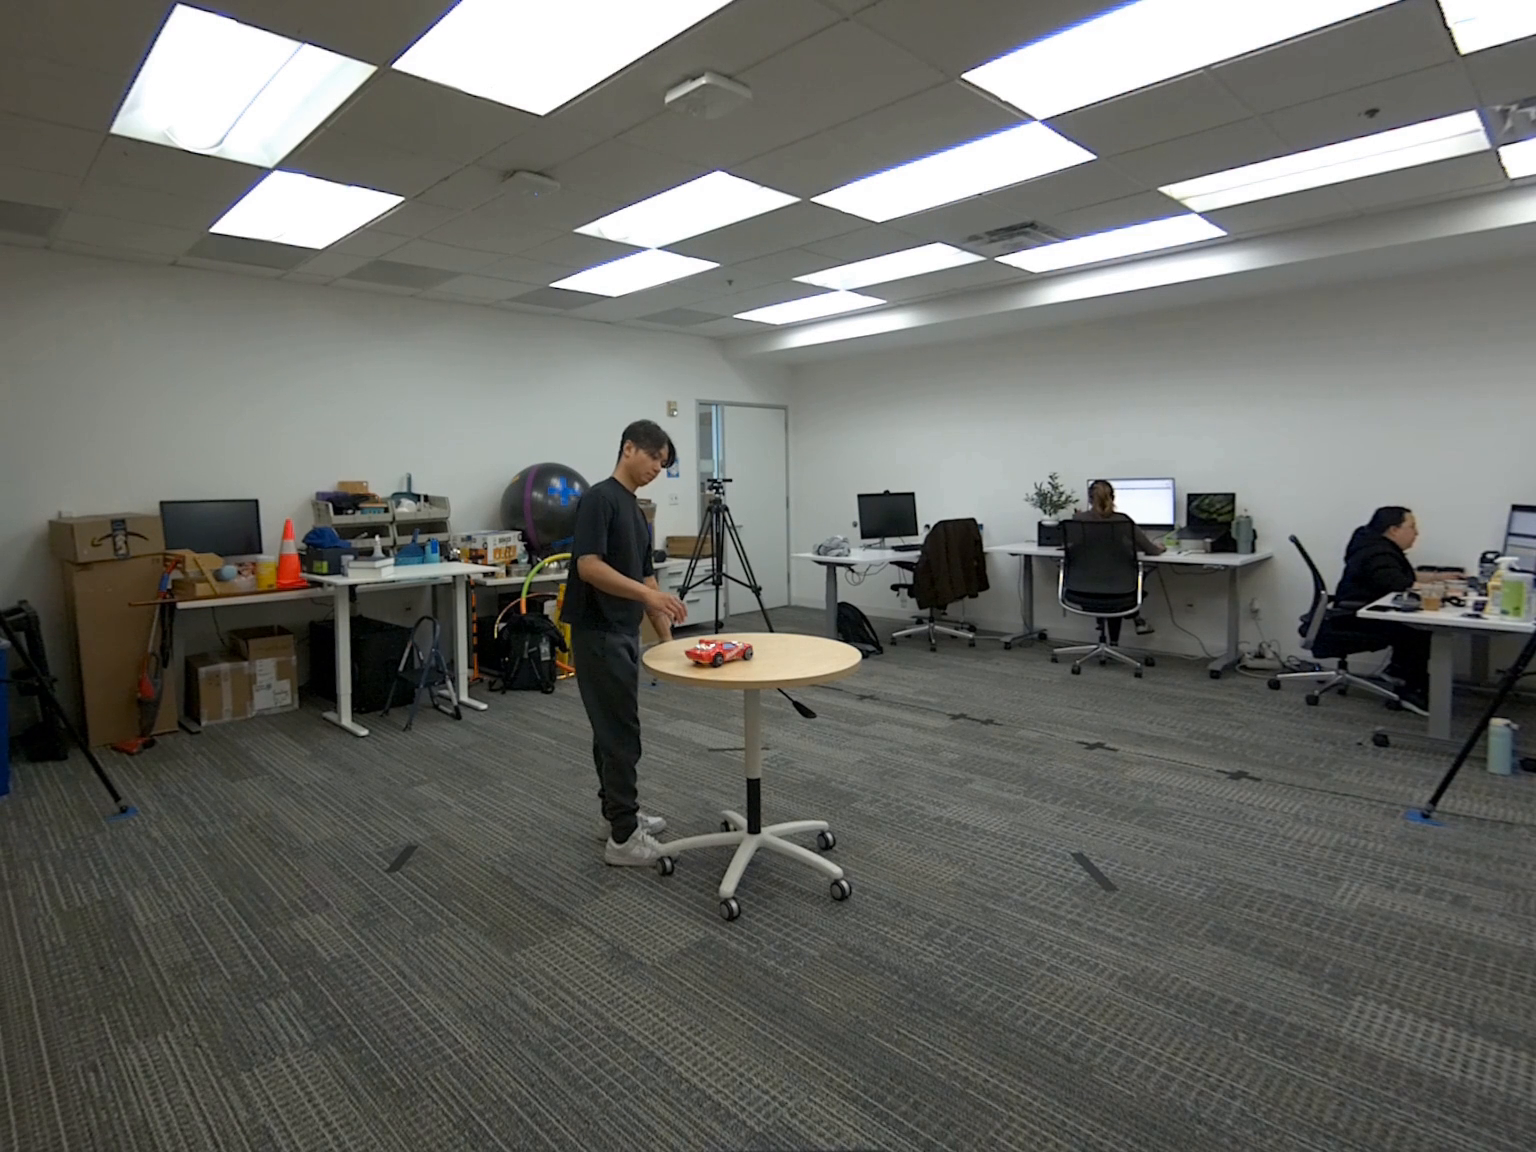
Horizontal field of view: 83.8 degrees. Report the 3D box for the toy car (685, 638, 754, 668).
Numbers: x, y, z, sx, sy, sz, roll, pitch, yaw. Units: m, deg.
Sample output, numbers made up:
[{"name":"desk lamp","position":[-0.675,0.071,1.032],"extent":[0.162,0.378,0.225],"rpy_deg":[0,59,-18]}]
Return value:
[{"name":"toy car","position":[-0.167,0.260,2.875],"extent":[0.134,0.083,0.246],"rpy_deg":[6,-1,44]}]
